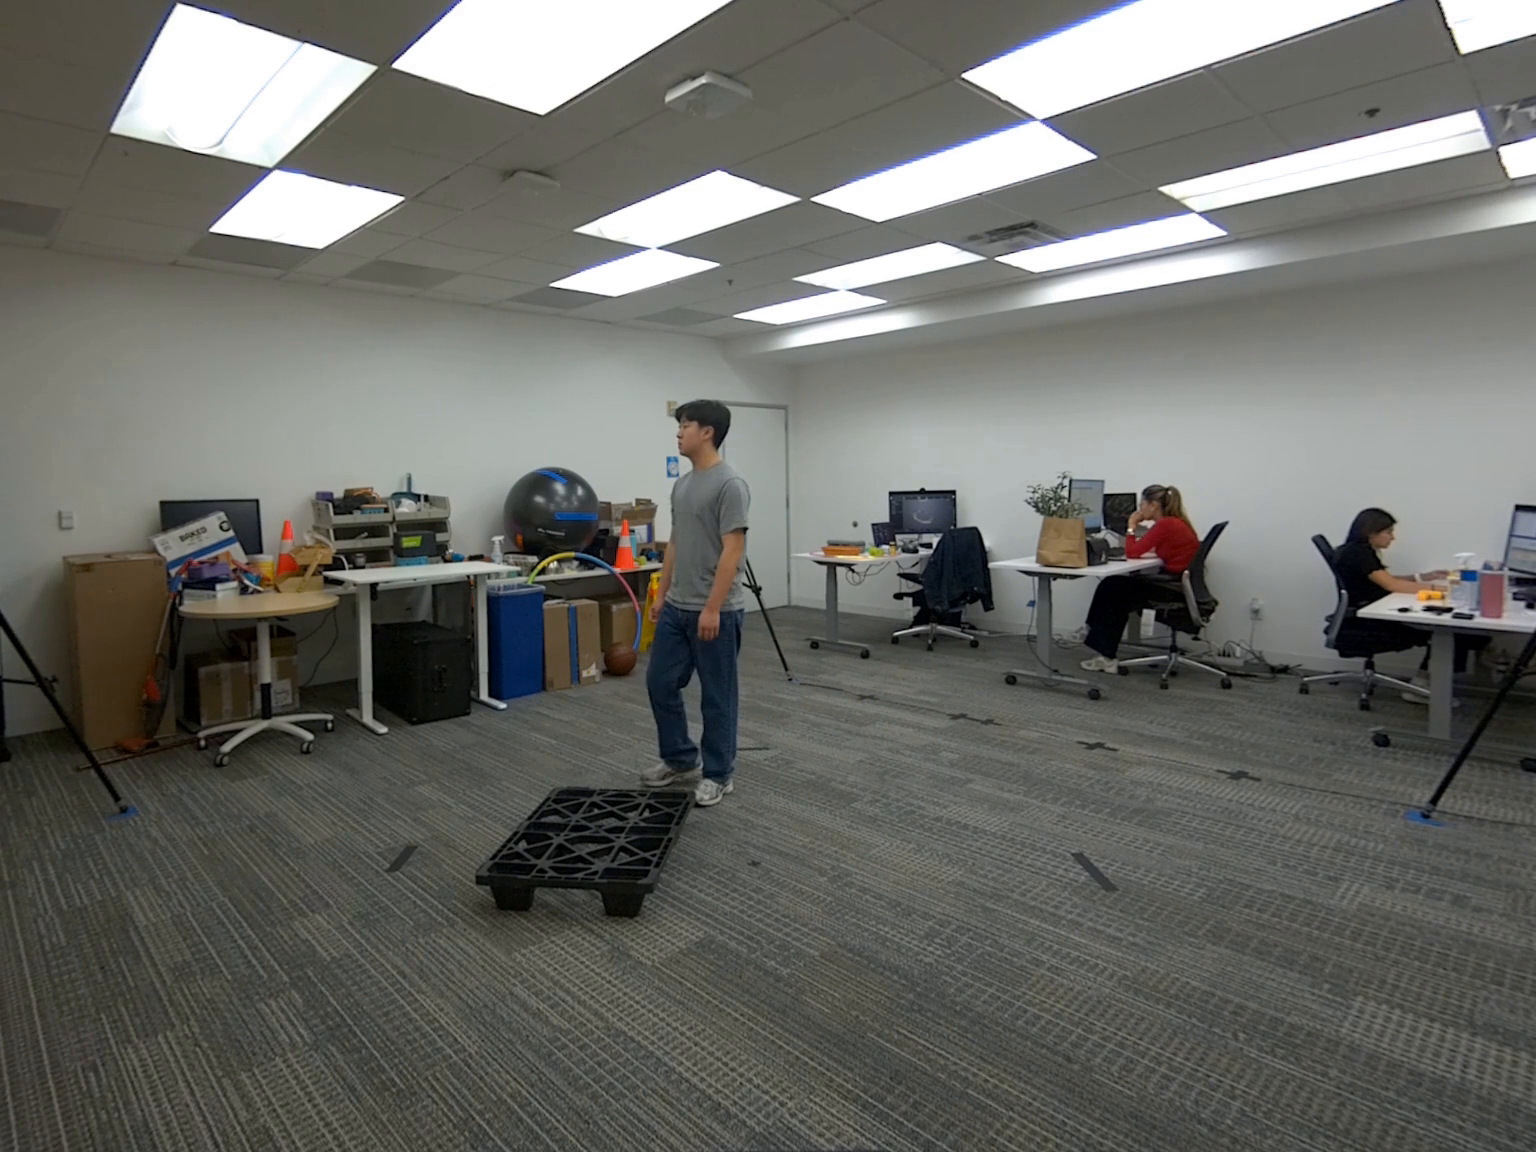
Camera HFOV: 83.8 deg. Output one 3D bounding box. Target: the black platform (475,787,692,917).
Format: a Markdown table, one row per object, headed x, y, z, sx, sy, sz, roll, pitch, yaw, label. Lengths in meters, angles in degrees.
| x | y | z | sx | sy | sz | roll | pitch | yaw | label |
| --- | --- | --- | --- | --- | --- | --- | --- | --- | --- |
| -0.615 | 0.982 | 3.127 | 0.610 | 0.142 | 0.804 | 0 | 7 | 6 | black platform |
